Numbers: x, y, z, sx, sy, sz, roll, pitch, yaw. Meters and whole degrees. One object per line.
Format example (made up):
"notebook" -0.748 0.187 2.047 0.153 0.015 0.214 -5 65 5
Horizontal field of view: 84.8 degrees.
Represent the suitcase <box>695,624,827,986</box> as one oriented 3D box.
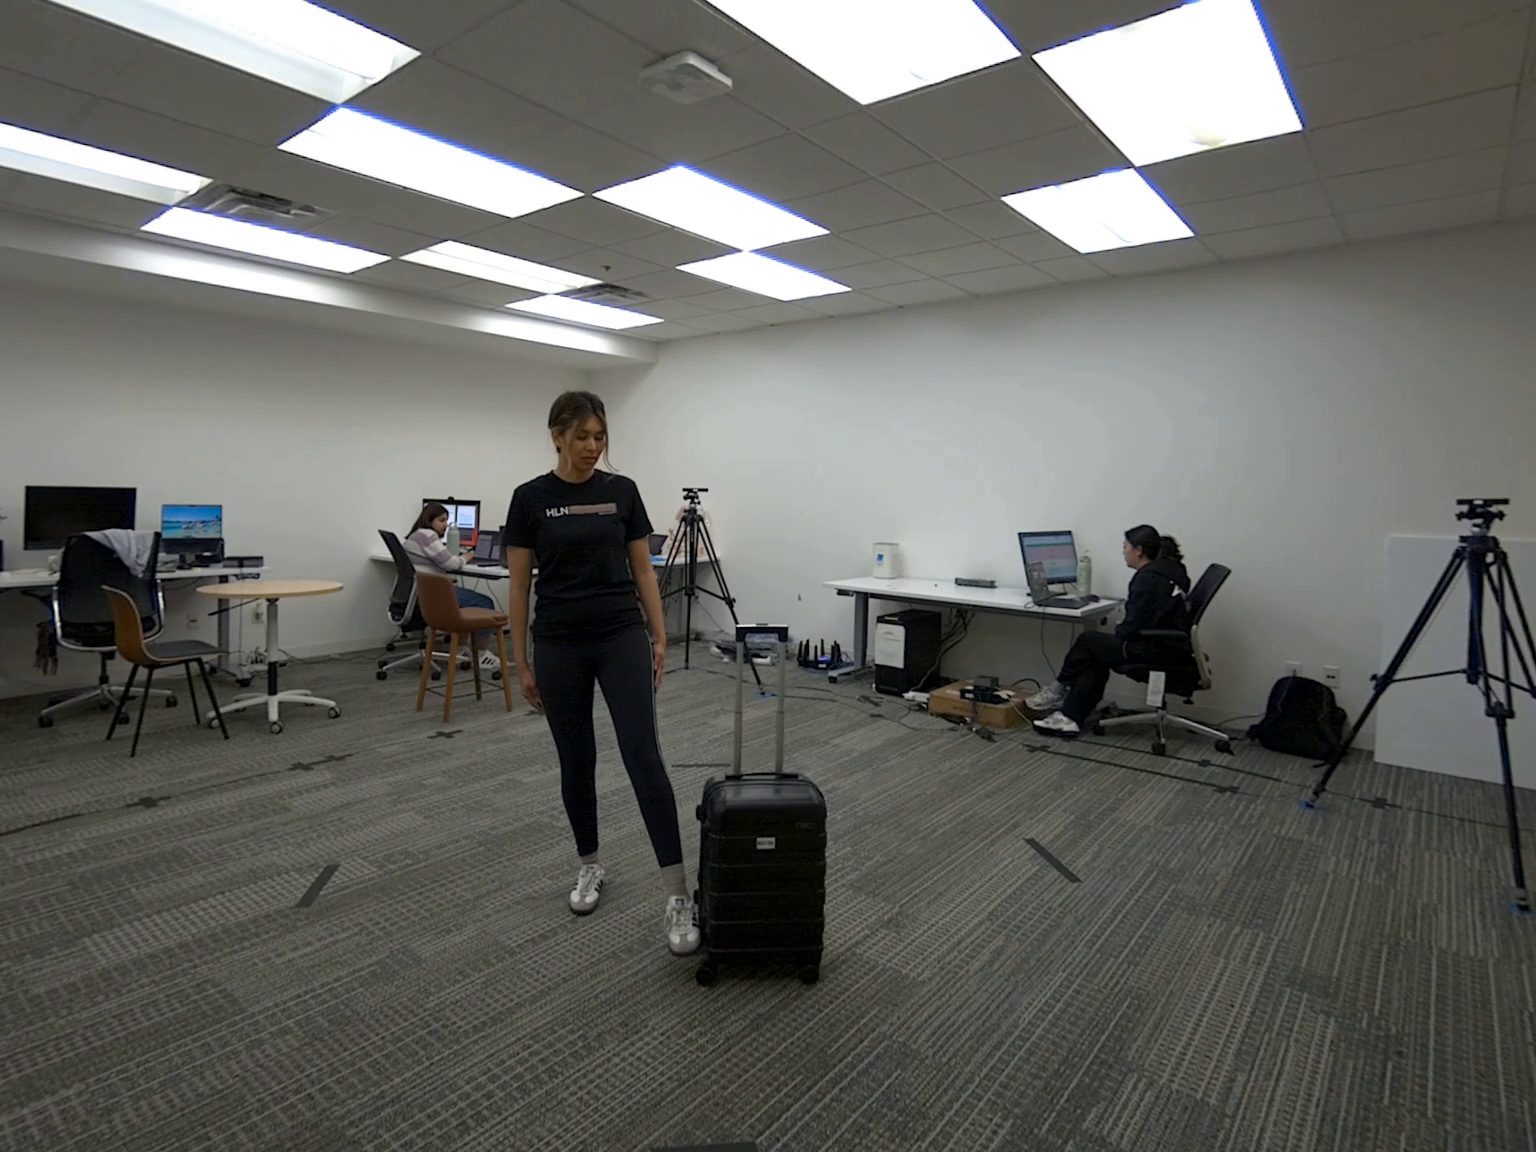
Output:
"suitcase" -0.018 0.654 2.474 0.381 0.975 0.260 1 4 -8
